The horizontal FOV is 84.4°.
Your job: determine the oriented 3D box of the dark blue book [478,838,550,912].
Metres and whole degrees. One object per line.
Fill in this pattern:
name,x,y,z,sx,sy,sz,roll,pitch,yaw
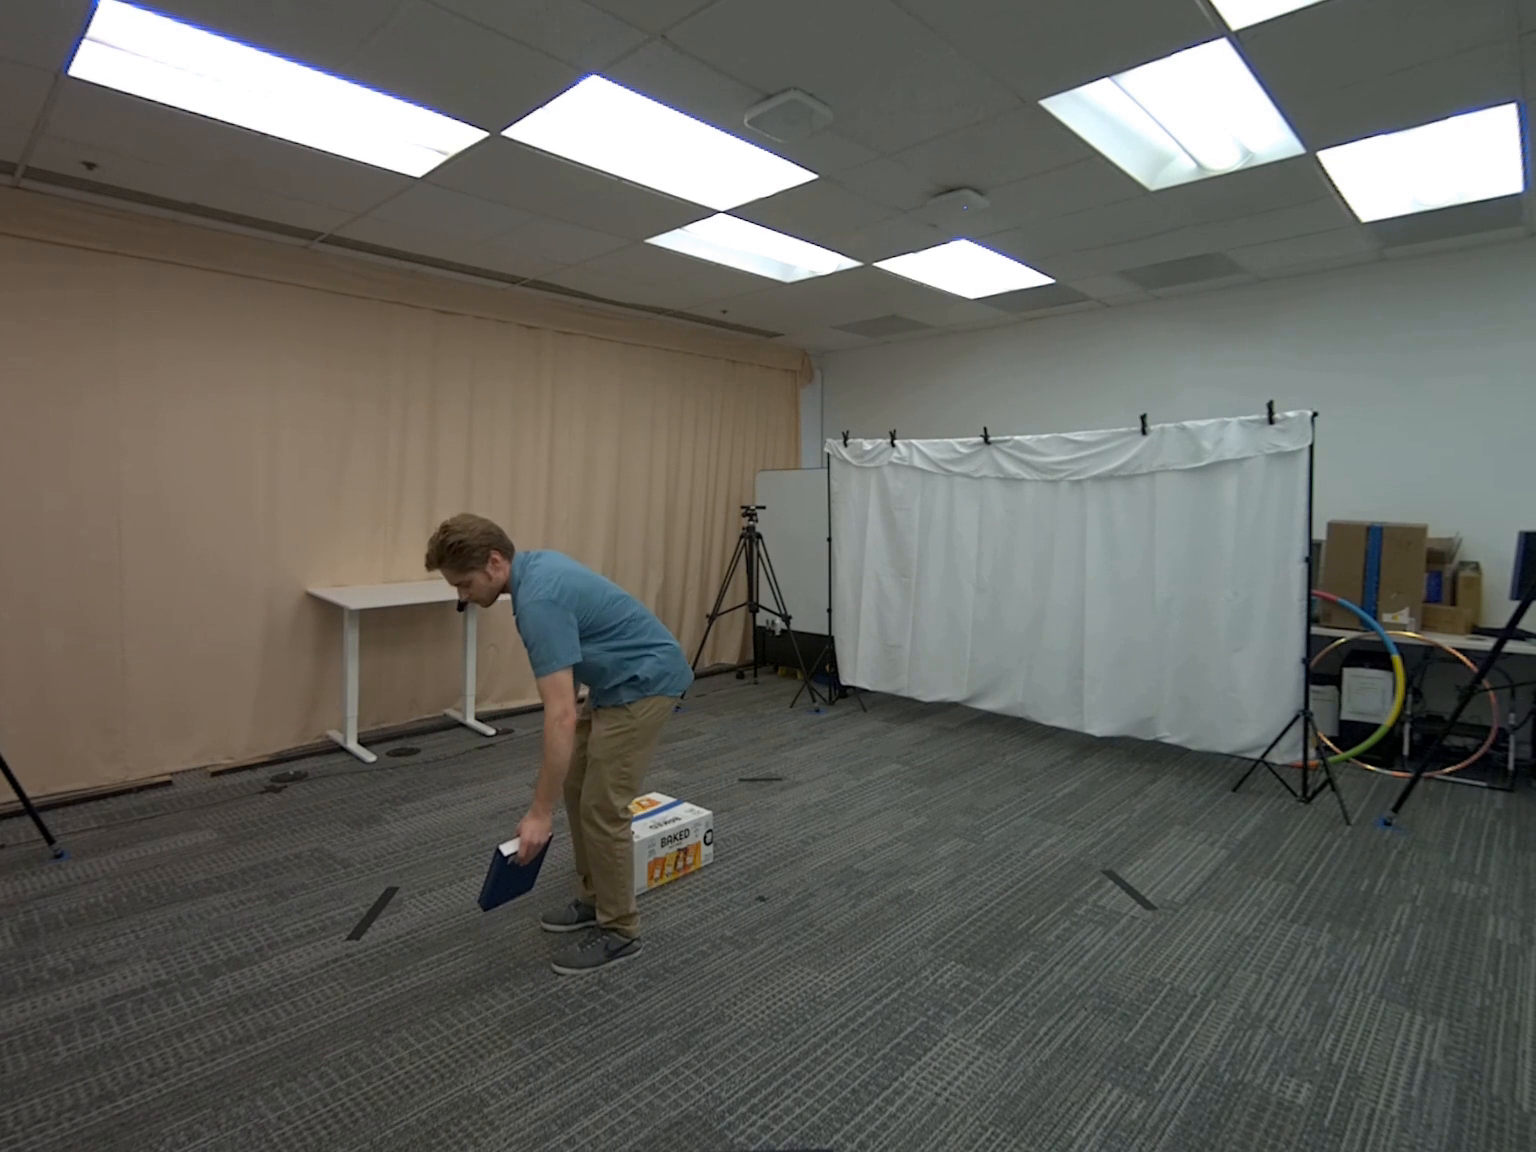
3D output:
dark blue book,-0.719,0.819,2.357,0.046,0.244,0.159,41,32,27
